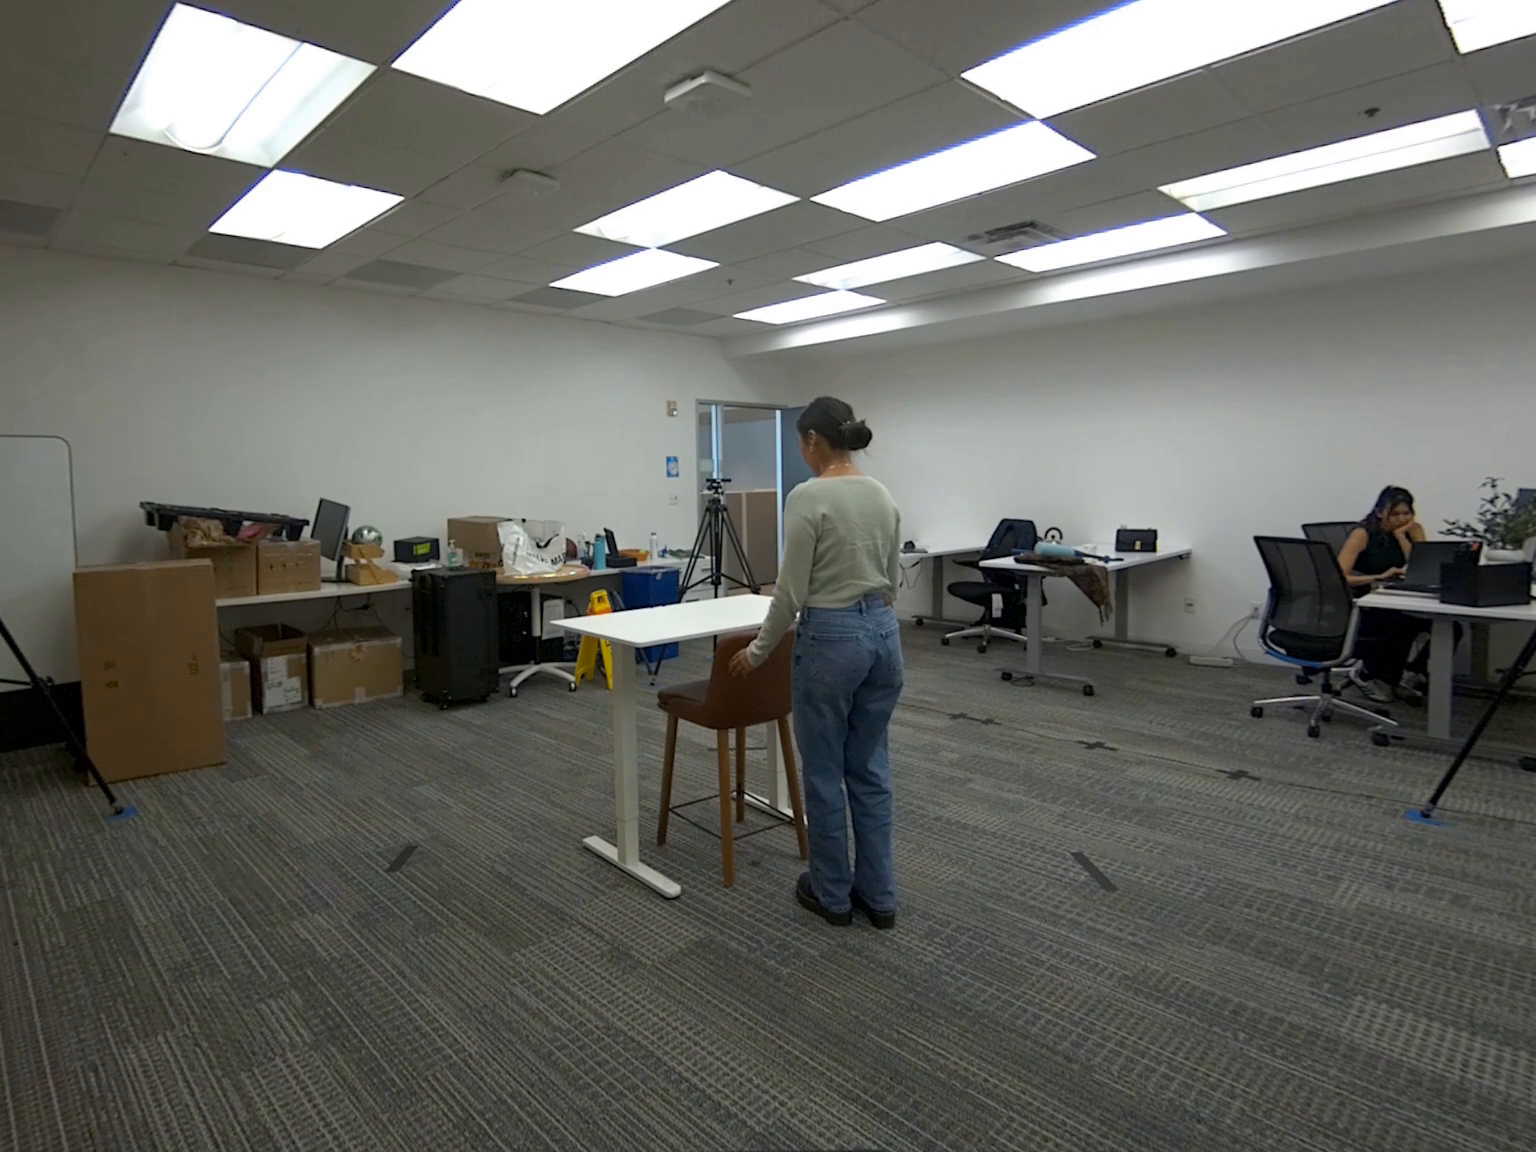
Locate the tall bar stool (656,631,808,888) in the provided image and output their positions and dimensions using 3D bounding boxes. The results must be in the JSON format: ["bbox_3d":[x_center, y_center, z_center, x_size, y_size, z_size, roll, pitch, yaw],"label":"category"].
[{"bbox_3d":[-0.129,0.603,3.175,0.445,0.885,0.482,-3,7,-37],"label":"tall bar stool"}]
